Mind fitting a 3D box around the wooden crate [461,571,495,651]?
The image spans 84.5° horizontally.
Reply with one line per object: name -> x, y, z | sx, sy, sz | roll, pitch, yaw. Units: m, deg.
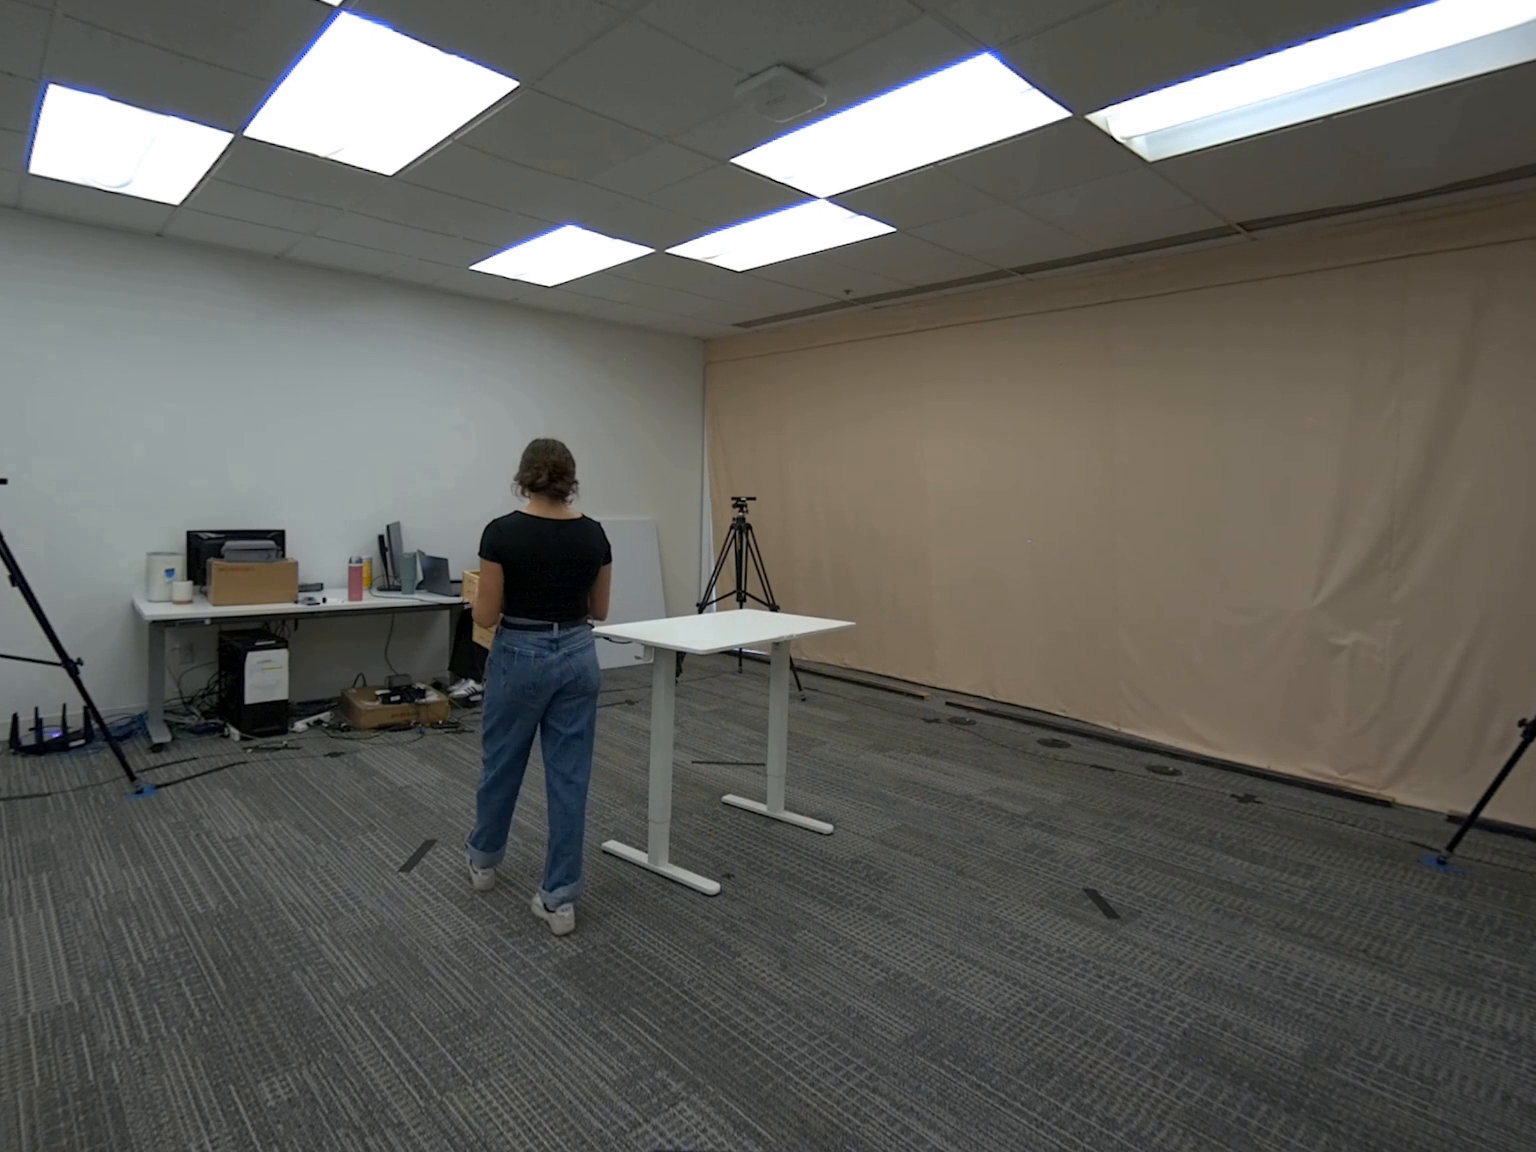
wooden crate -> -0.900, 0.129, 3.035 | 0.295, 0.272, 0.333 | -2, 11, -42
